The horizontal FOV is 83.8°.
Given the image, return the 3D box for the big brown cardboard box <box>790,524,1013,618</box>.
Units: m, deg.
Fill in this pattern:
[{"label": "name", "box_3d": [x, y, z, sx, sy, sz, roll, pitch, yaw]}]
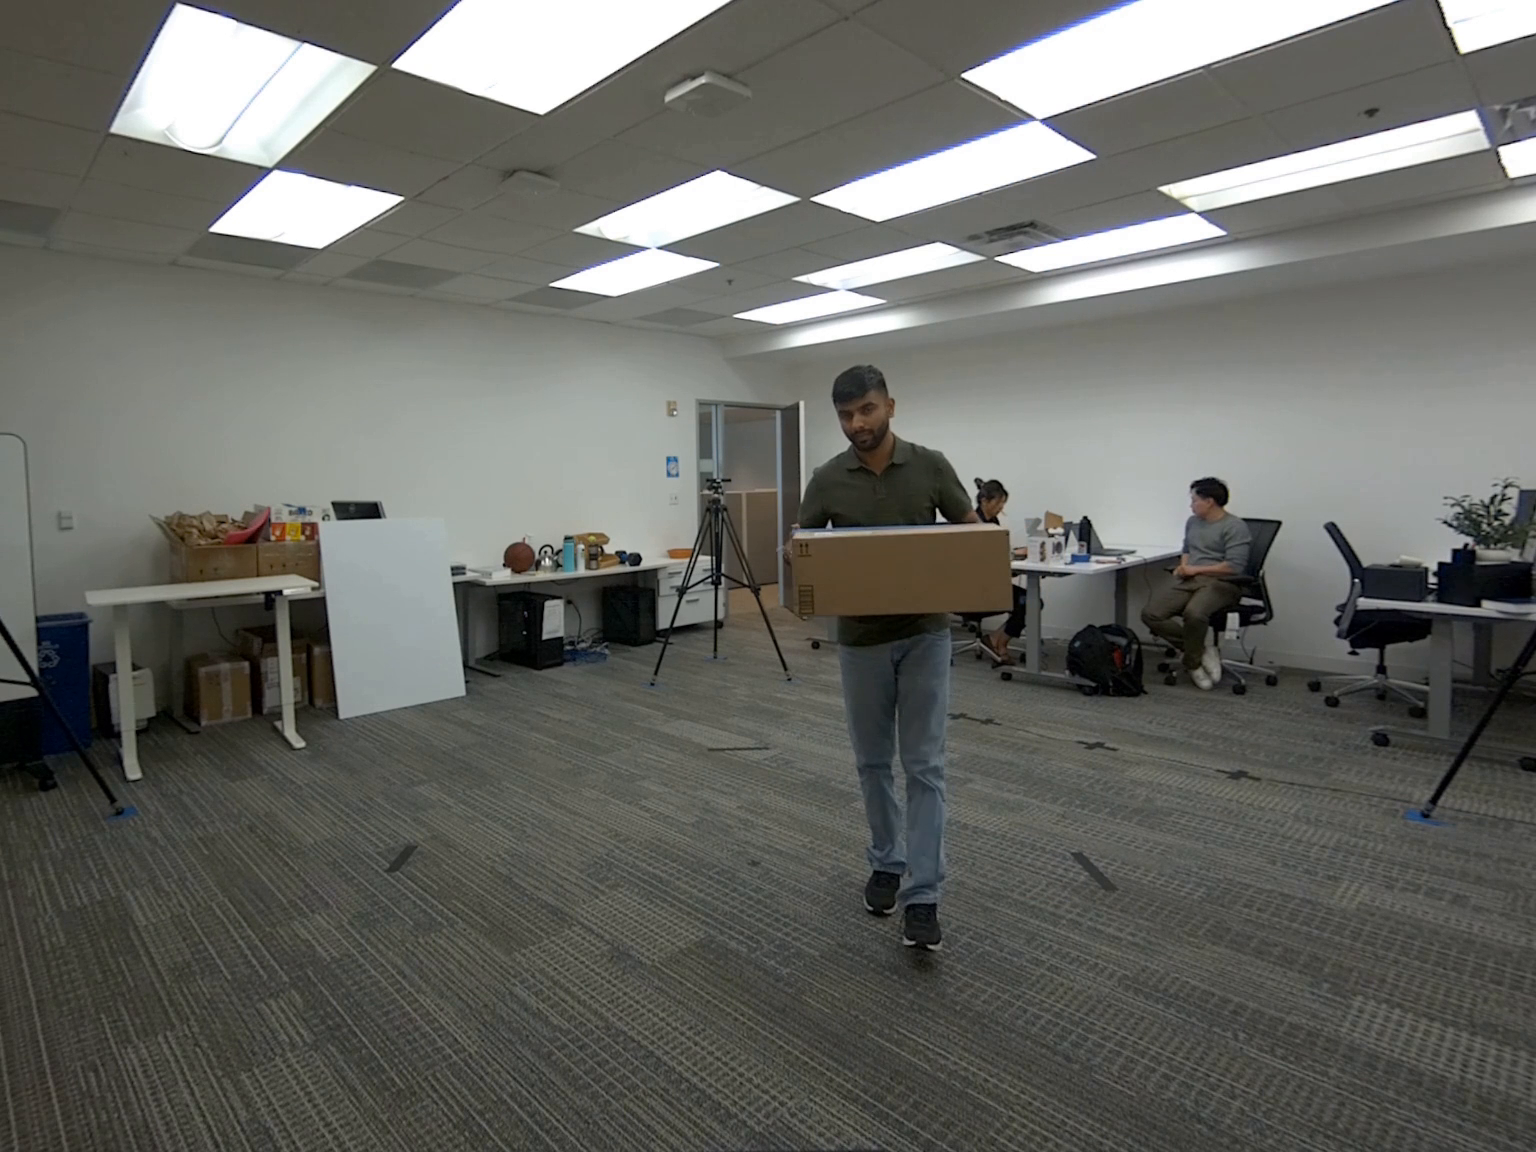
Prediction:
[{"label": "big brown cardboard box", "box_3d": [0.362, -0.025, 2.436, 0.594, 0.232, 0.416, -1, 5, 7]}]
